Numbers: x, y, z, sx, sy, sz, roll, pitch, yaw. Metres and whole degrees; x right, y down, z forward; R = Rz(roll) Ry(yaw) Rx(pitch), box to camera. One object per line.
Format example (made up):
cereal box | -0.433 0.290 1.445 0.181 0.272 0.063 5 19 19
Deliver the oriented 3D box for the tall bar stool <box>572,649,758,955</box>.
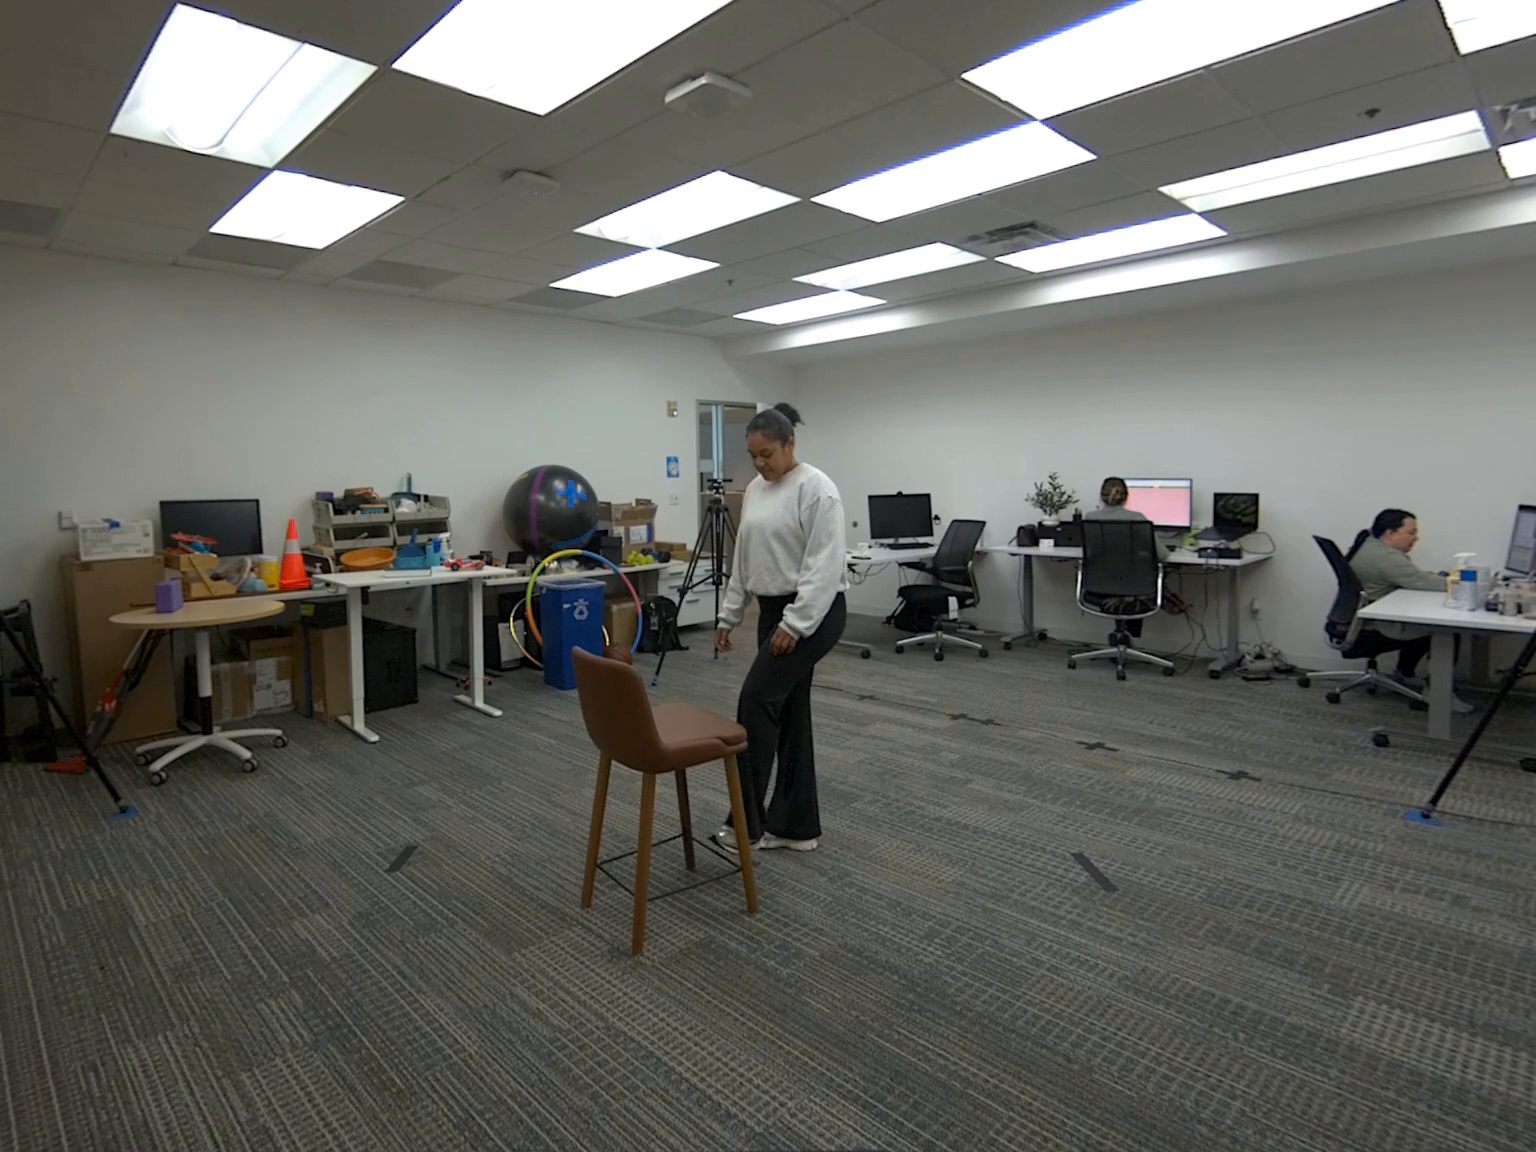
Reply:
tall bar stool | -0.341 0.656 2.760 0.456 0.885 0.470 -6 7 -36
